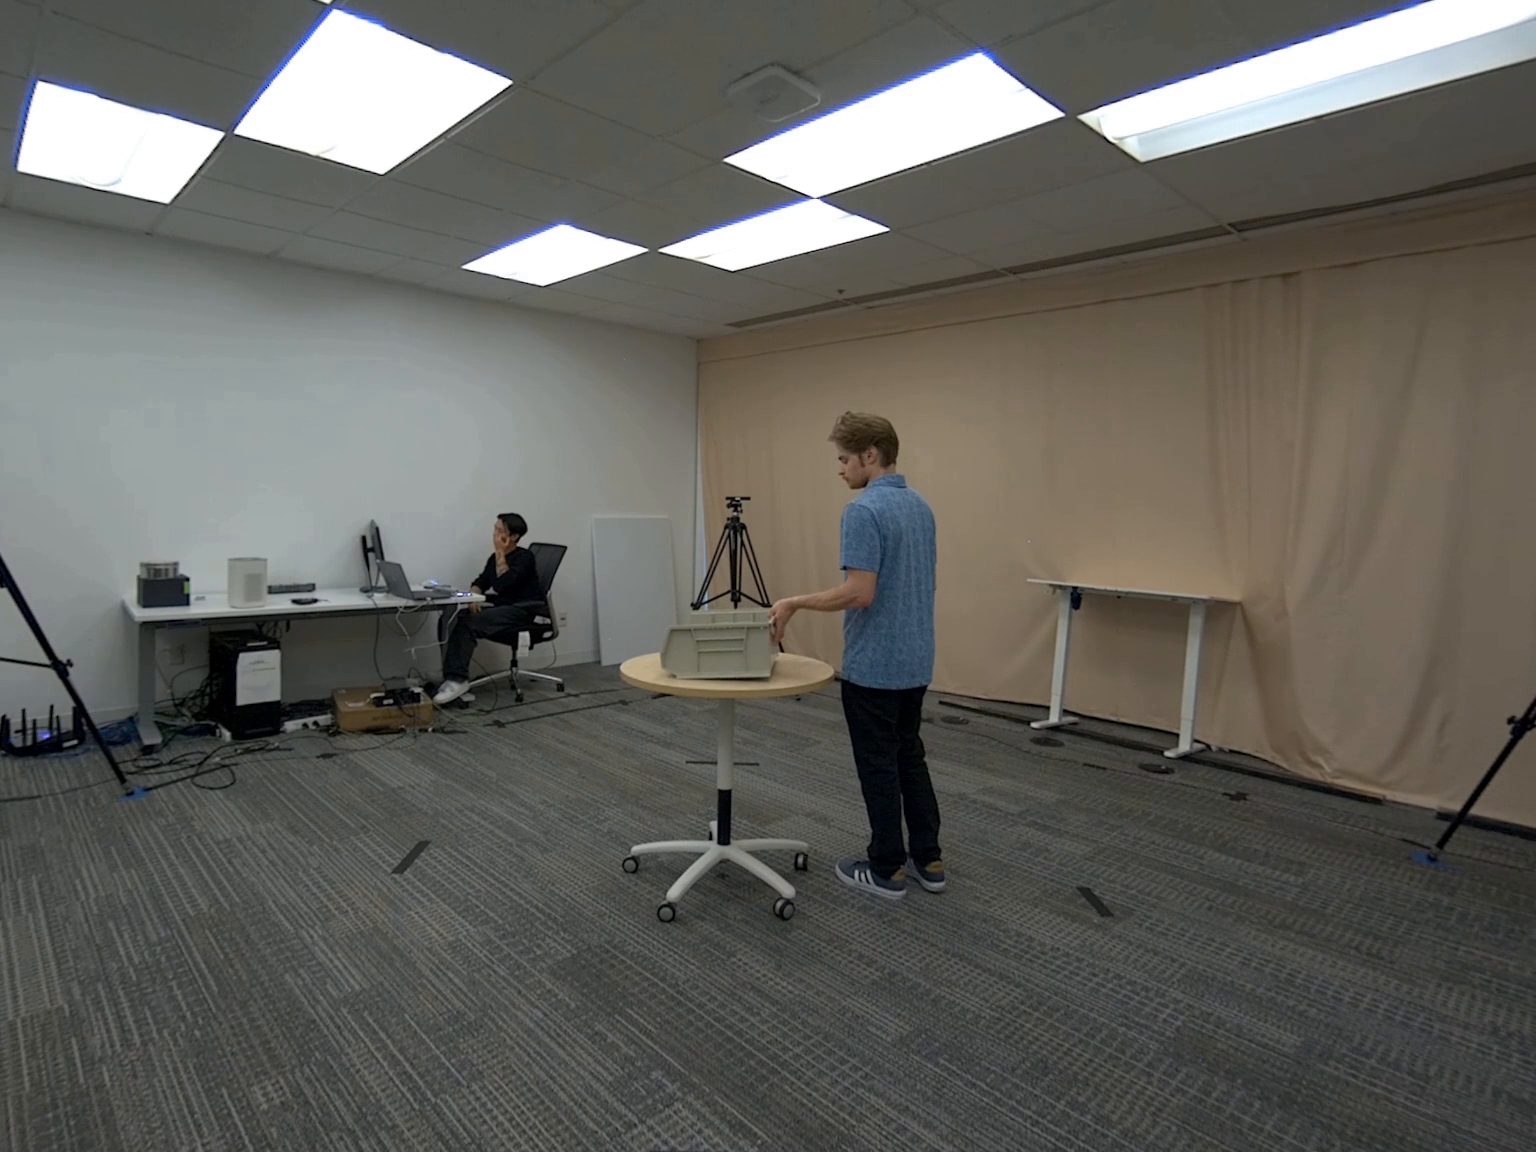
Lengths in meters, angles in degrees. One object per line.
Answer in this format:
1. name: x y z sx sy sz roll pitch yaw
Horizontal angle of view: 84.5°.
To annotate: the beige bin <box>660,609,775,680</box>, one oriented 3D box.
1. beige bin: -0.170 0.236 2.985 0.379 0.189 0.421 -1 3 5
